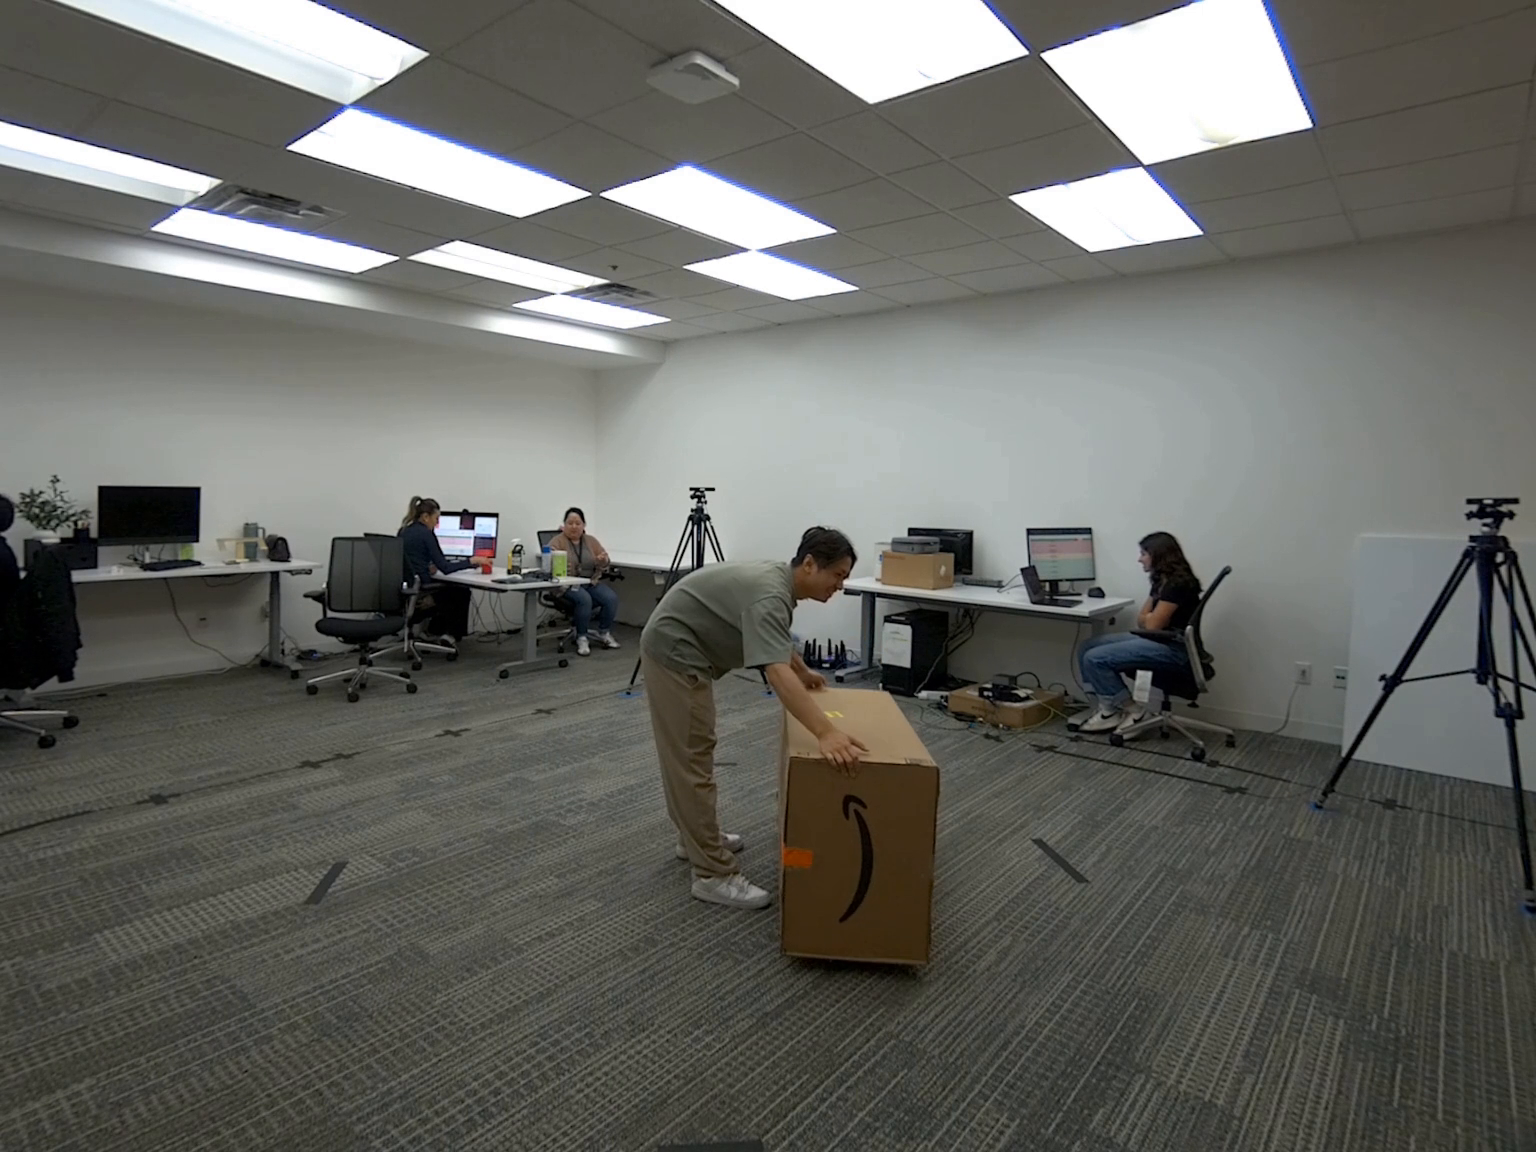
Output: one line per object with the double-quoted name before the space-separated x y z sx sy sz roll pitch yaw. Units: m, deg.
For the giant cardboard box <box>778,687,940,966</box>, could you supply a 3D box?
"giant cardboard box" 0.258 0.761 2.938 0.427 0.576 1.026 2 4 0
